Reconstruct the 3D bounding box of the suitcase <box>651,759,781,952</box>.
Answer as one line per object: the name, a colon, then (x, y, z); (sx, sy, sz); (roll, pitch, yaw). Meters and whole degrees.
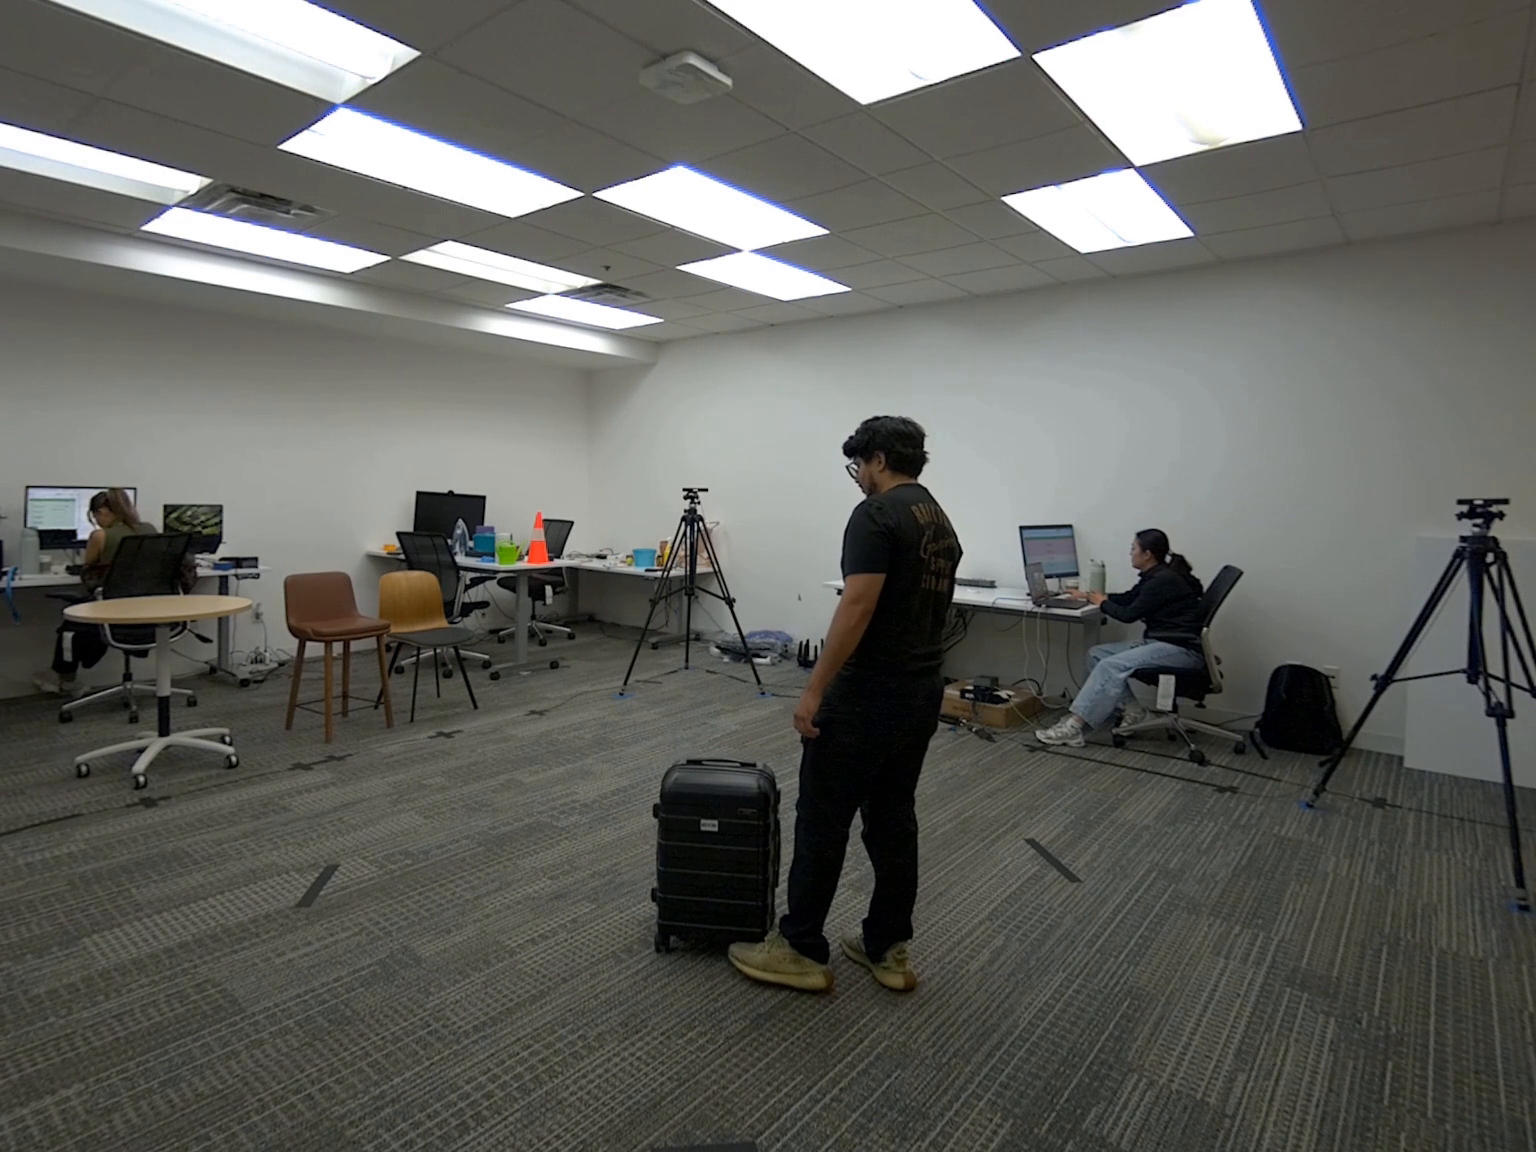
suitcase: (-0.158, 0.842, 2.607); (0.377, 0.548, 0.248); (2, 3, 4)
